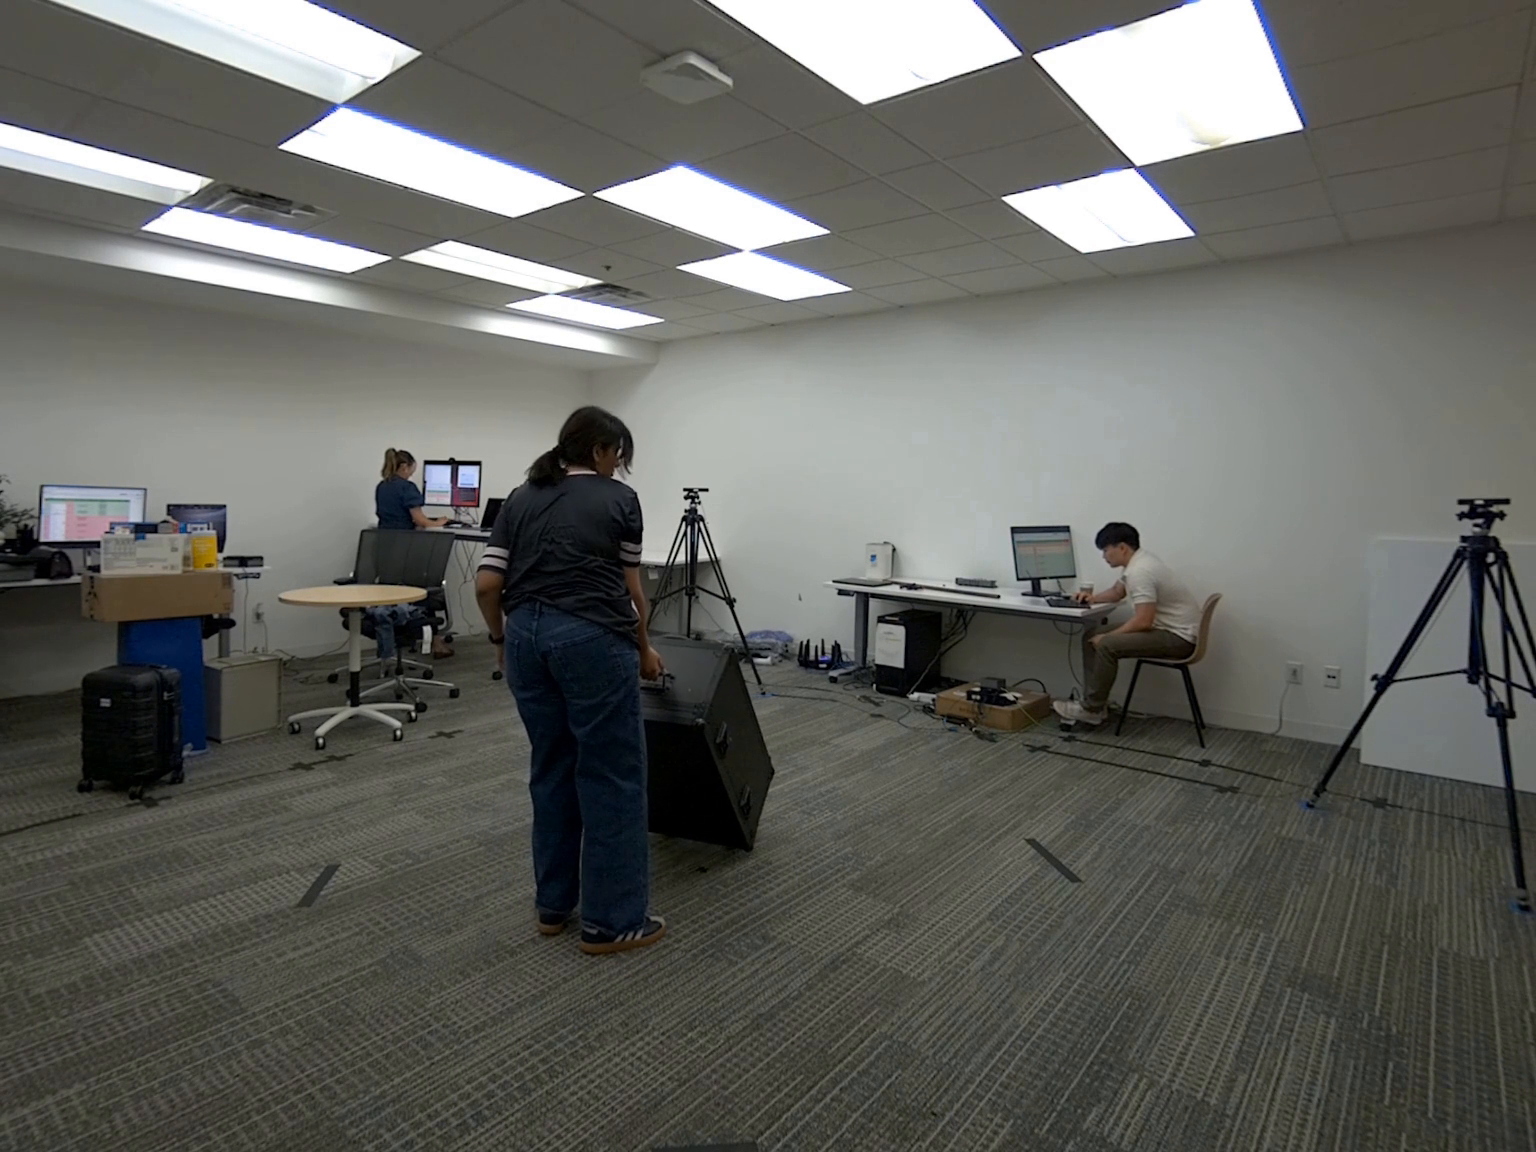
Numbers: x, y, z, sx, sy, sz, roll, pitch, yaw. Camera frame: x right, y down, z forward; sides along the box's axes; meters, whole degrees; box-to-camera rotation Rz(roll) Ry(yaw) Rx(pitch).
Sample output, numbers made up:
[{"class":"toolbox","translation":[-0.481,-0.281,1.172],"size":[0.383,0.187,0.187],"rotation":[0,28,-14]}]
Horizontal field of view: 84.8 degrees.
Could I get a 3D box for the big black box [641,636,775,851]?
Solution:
[{"class":"big black box","translation":[-0.319,0.644,3.223],"size":[0.533,0.831,0.401],"rotation":[3,42,21]}]
